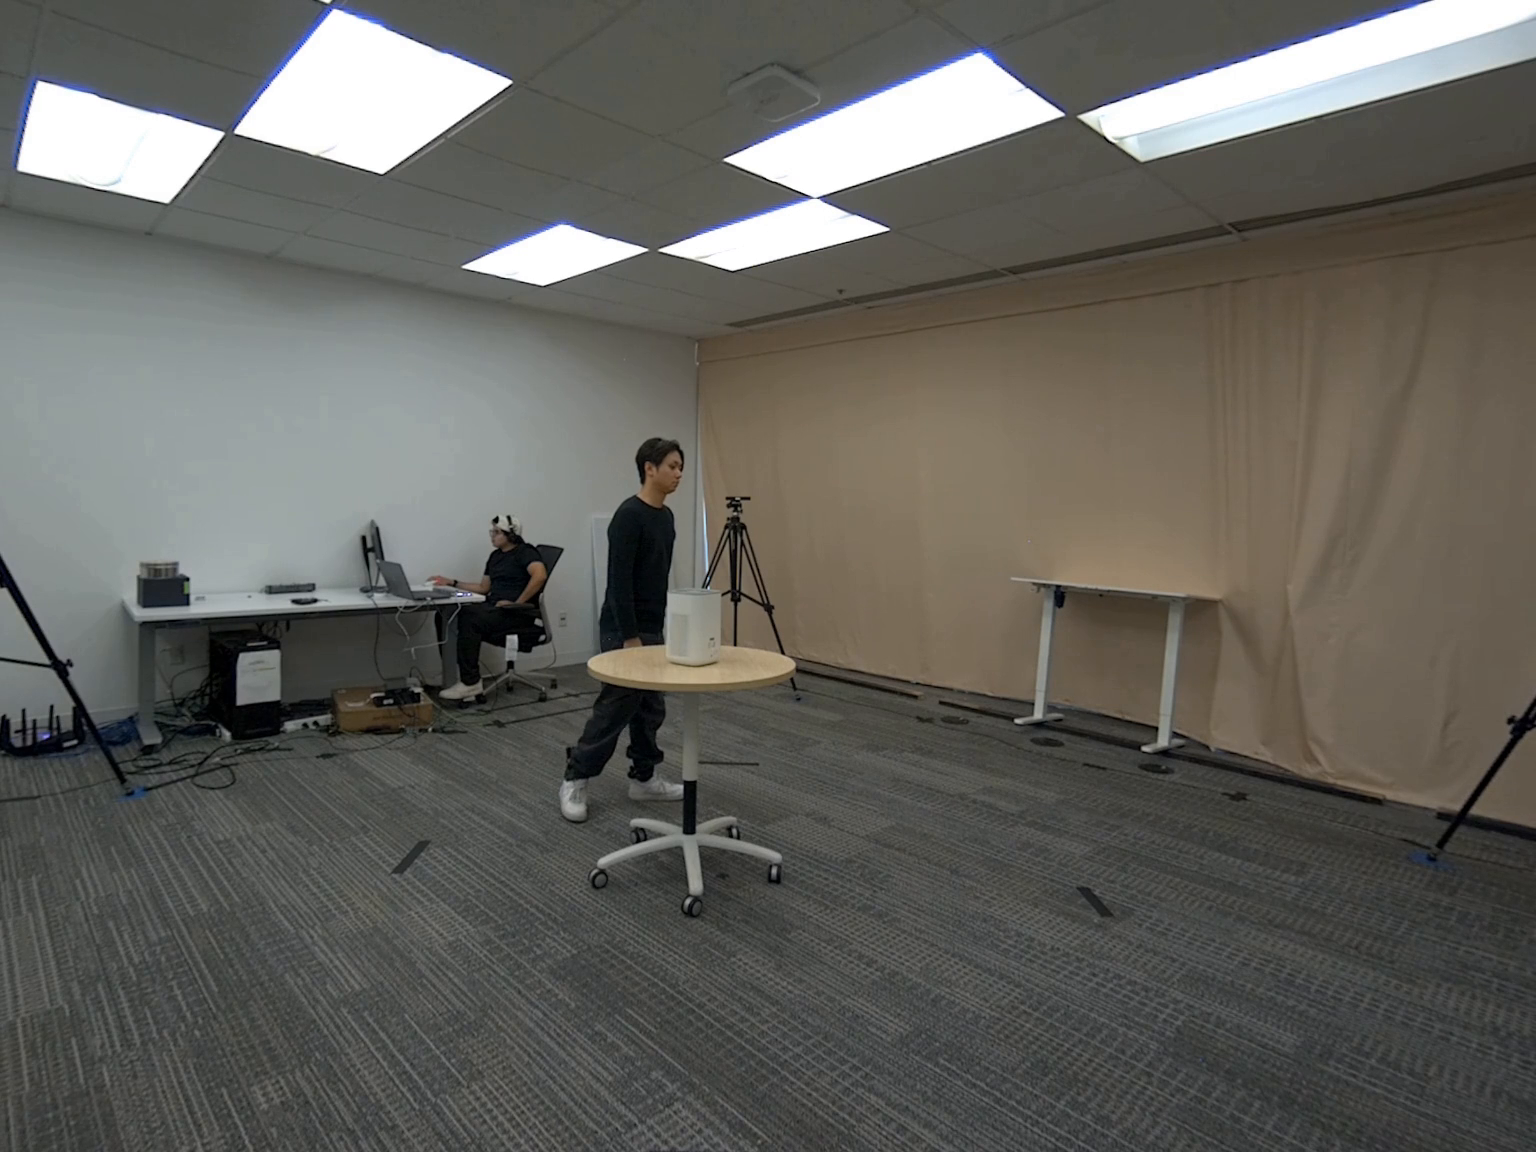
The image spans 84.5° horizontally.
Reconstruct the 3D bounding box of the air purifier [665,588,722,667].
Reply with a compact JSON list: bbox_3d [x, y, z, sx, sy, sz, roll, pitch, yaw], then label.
[{"bbox_3d":[-0.278,0.185,3.095,0.175,0.265,0.167,4,4,34],"label":"air purifier"}]
